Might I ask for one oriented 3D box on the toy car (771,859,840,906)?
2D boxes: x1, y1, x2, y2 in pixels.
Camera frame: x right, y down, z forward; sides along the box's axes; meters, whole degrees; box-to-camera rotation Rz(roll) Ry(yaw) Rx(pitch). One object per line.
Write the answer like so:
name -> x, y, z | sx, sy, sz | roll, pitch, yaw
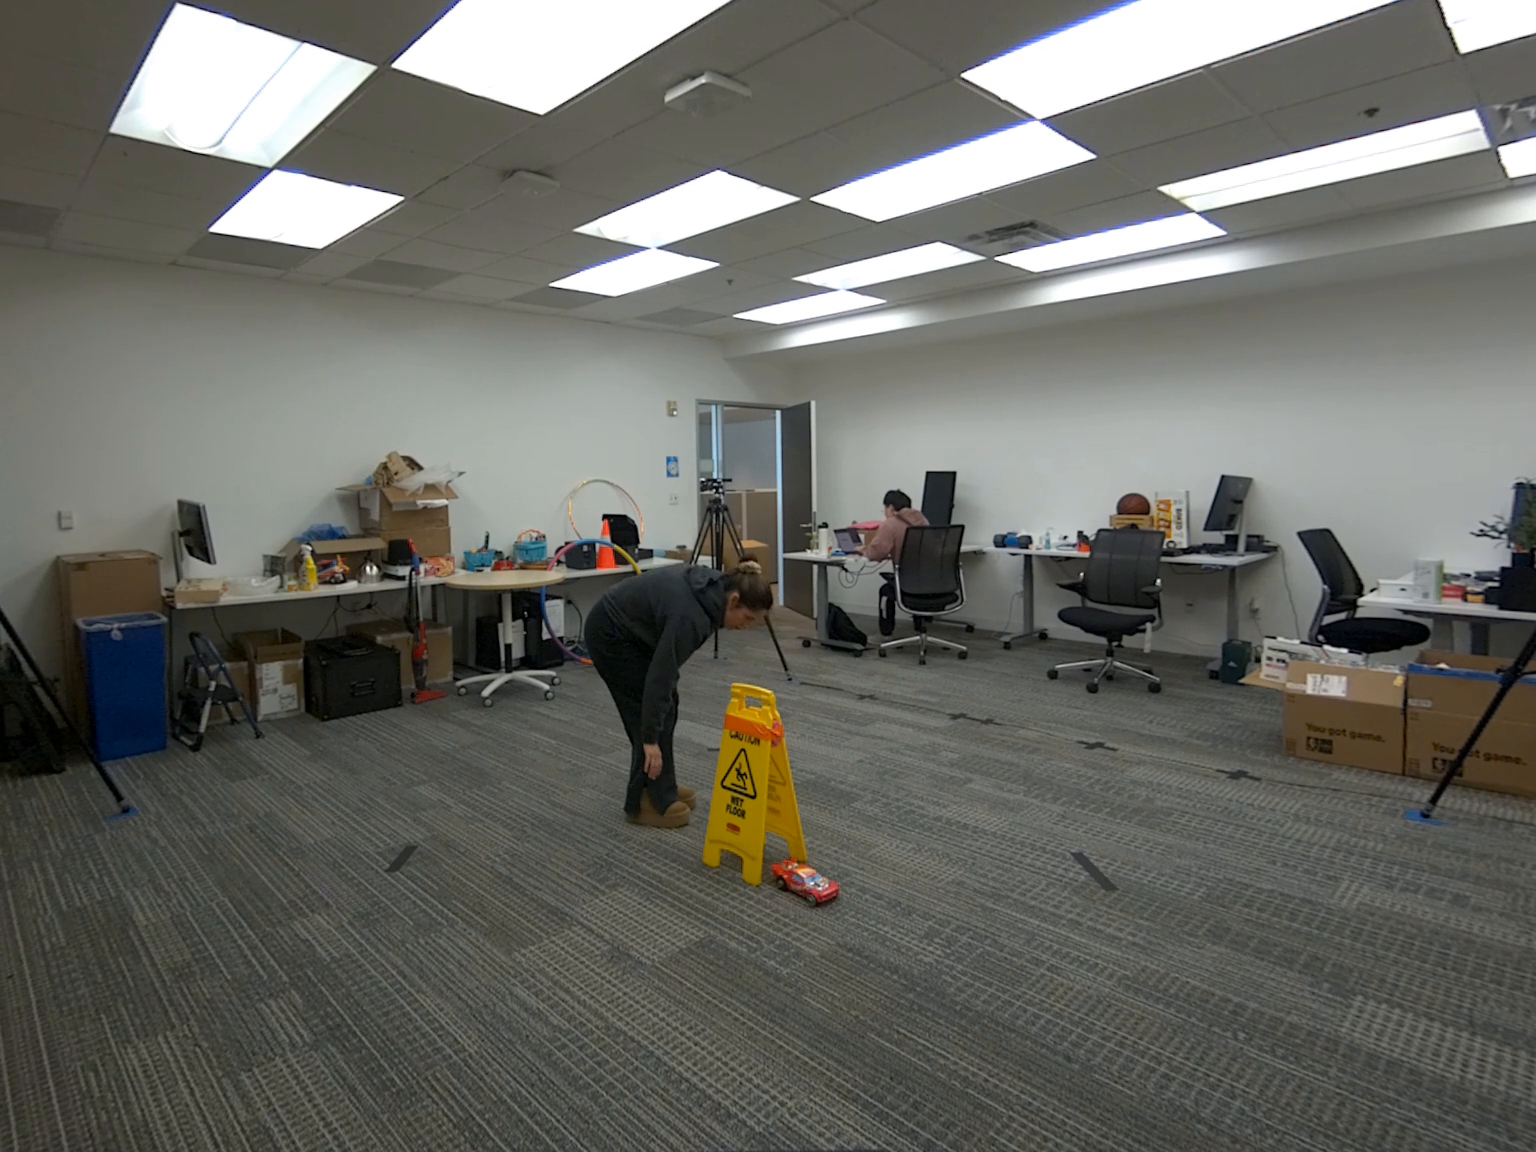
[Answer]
toy car -> 0.120, 1.041, 2.884 | 0.127, 0.082, 0.264 | -6, 18, -39
